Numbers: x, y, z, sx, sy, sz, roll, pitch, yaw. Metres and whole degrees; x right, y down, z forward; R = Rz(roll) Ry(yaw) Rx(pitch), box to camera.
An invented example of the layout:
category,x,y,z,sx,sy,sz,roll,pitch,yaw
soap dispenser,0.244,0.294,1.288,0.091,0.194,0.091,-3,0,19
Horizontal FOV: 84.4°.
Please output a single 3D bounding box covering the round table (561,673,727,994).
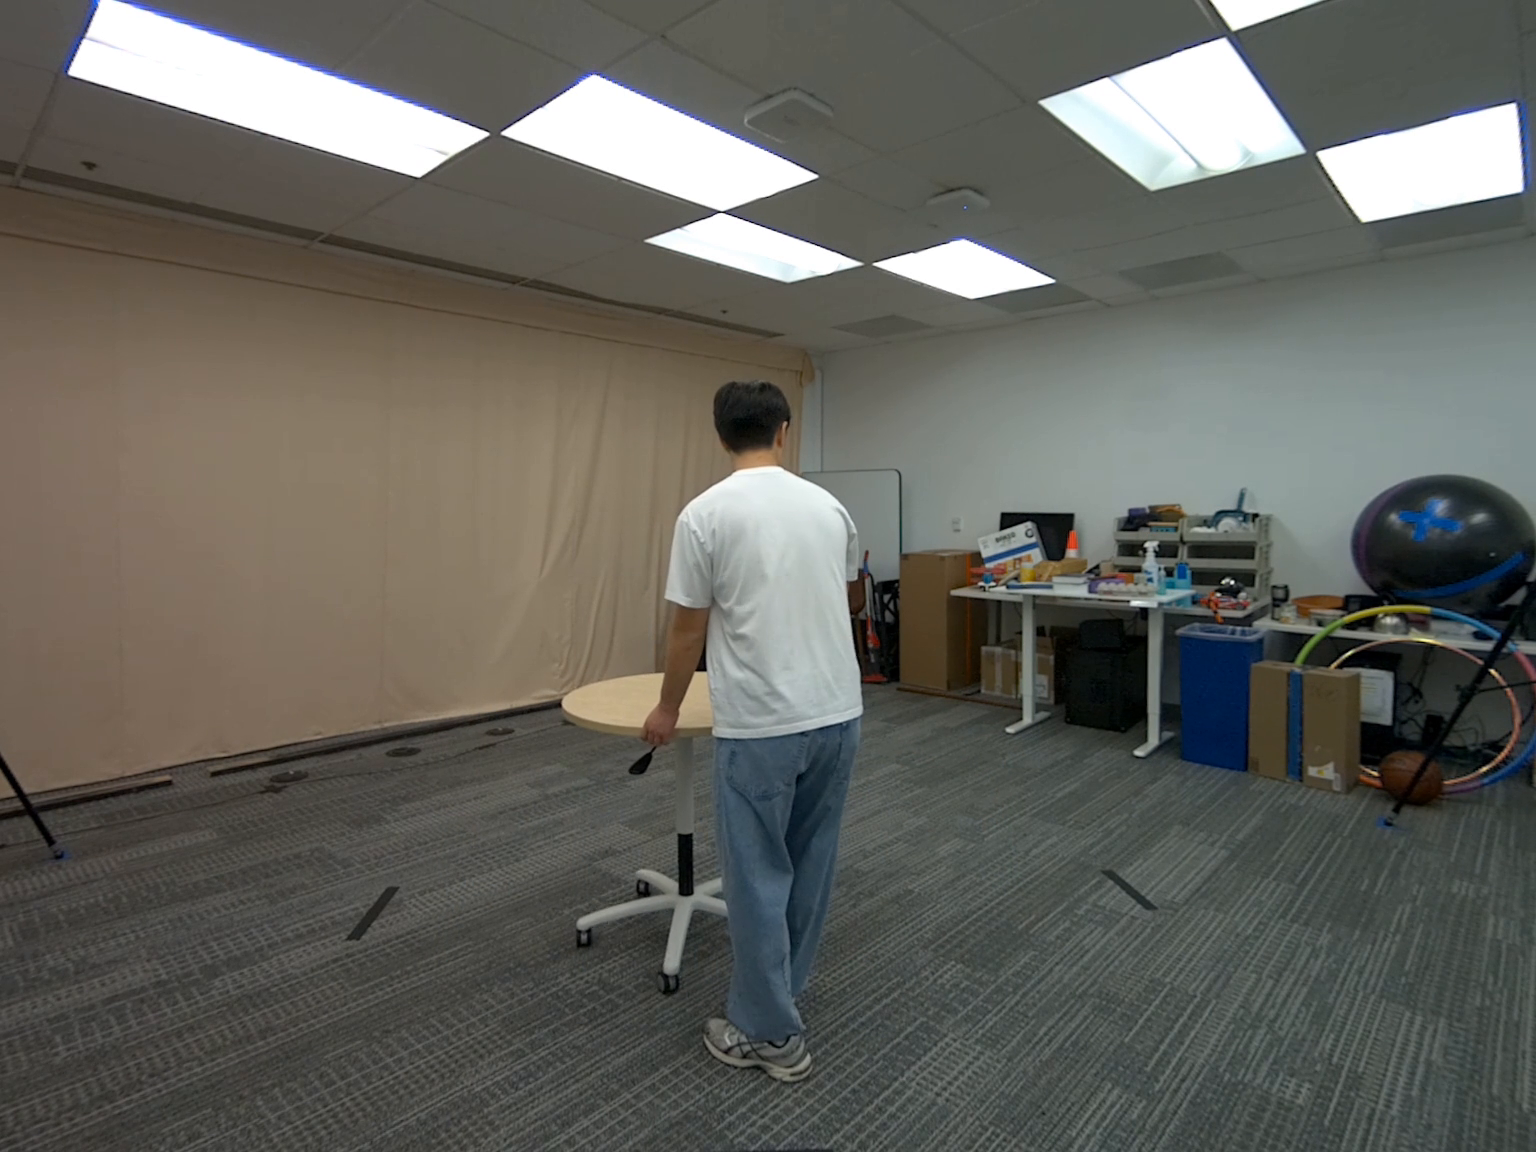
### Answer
category,x,y,z,sx,sy,sz,roll,pitch,yaw
round table,-0.268,0.778,2.717,0.763,0.792,0.766,-1,4,-2
